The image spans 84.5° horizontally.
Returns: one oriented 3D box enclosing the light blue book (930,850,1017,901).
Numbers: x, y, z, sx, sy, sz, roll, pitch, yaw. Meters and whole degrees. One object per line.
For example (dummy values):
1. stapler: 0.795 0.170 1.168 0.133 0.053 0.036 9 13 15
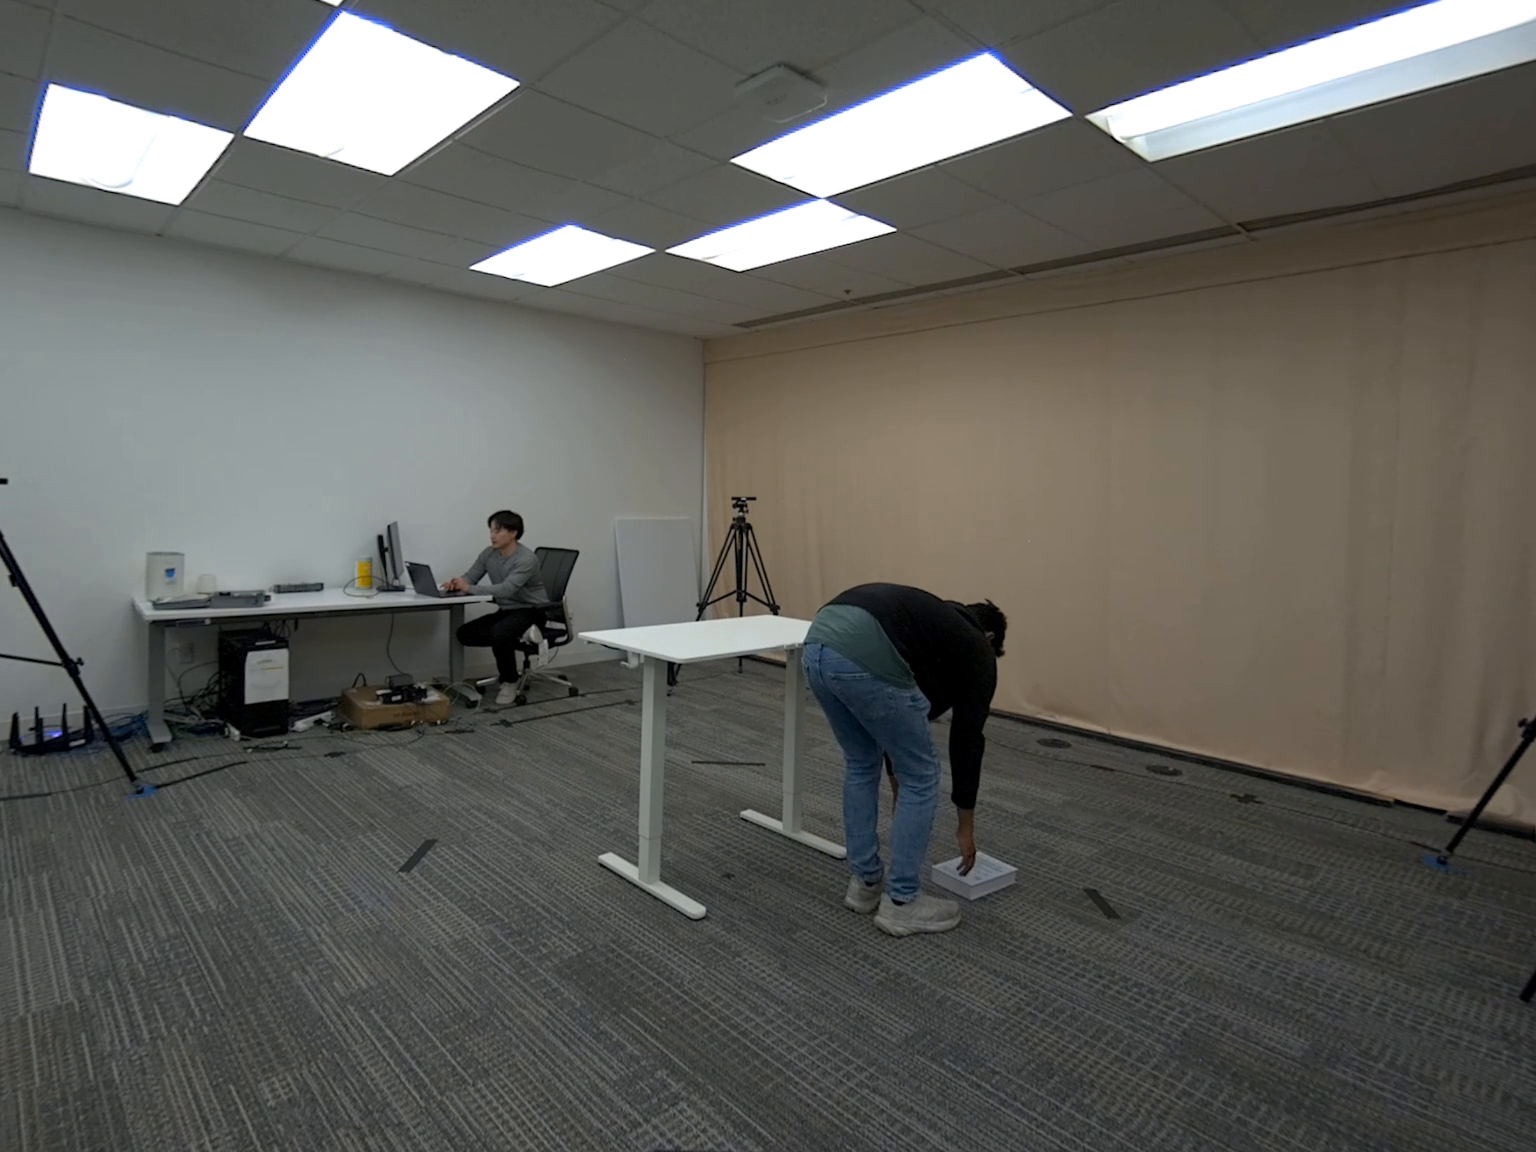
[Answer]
1. light blue book: 0.747 1.096 3.096 0.255 0.059 0.196 -2 7 -36
